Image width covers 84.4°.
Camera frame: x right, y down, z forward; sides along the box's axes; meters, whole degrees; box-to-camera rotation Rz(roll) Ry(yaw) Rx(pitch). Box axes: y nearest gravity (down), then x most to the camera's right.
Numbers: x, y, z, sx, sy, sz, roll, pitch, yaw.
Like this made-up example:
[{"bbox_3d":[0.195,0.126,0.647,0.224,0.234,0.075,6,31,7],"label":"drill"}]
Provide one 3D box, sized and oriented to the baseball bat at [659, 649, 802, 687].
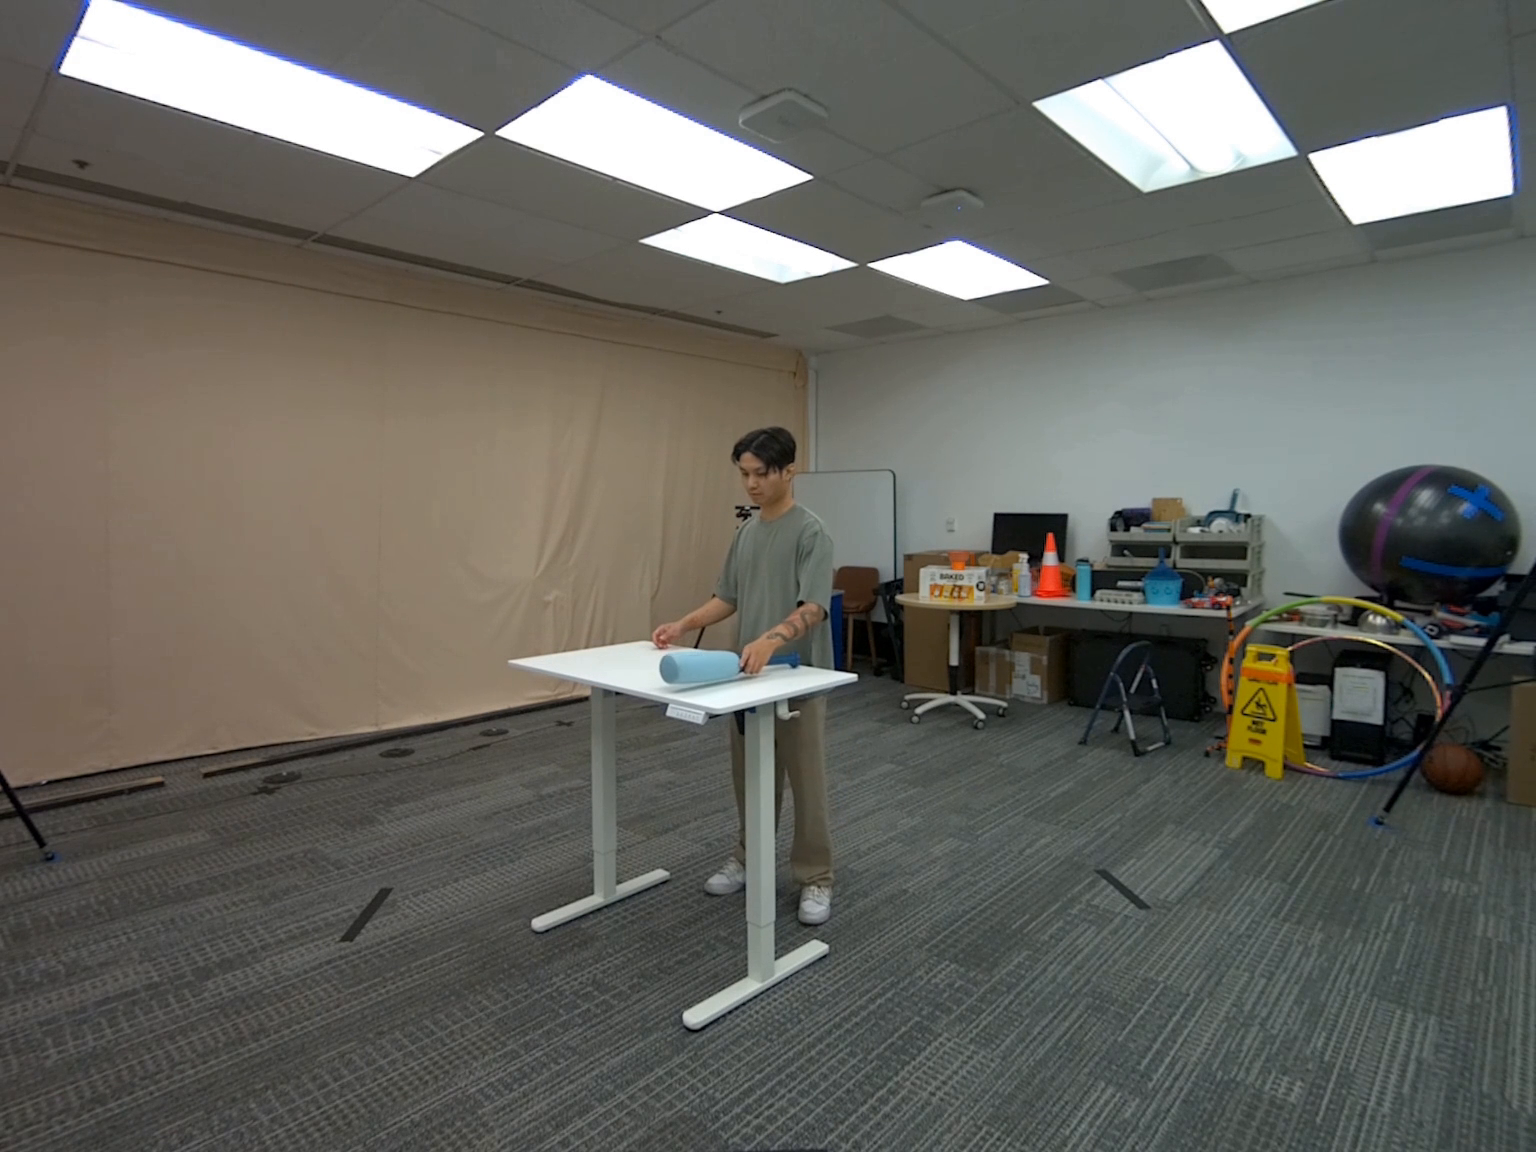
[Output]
[{"bbox_3d":[-0.095,0.262,2.463,0.092,0.089,0.525,3,0,43],"label":"baseball bat"}]
